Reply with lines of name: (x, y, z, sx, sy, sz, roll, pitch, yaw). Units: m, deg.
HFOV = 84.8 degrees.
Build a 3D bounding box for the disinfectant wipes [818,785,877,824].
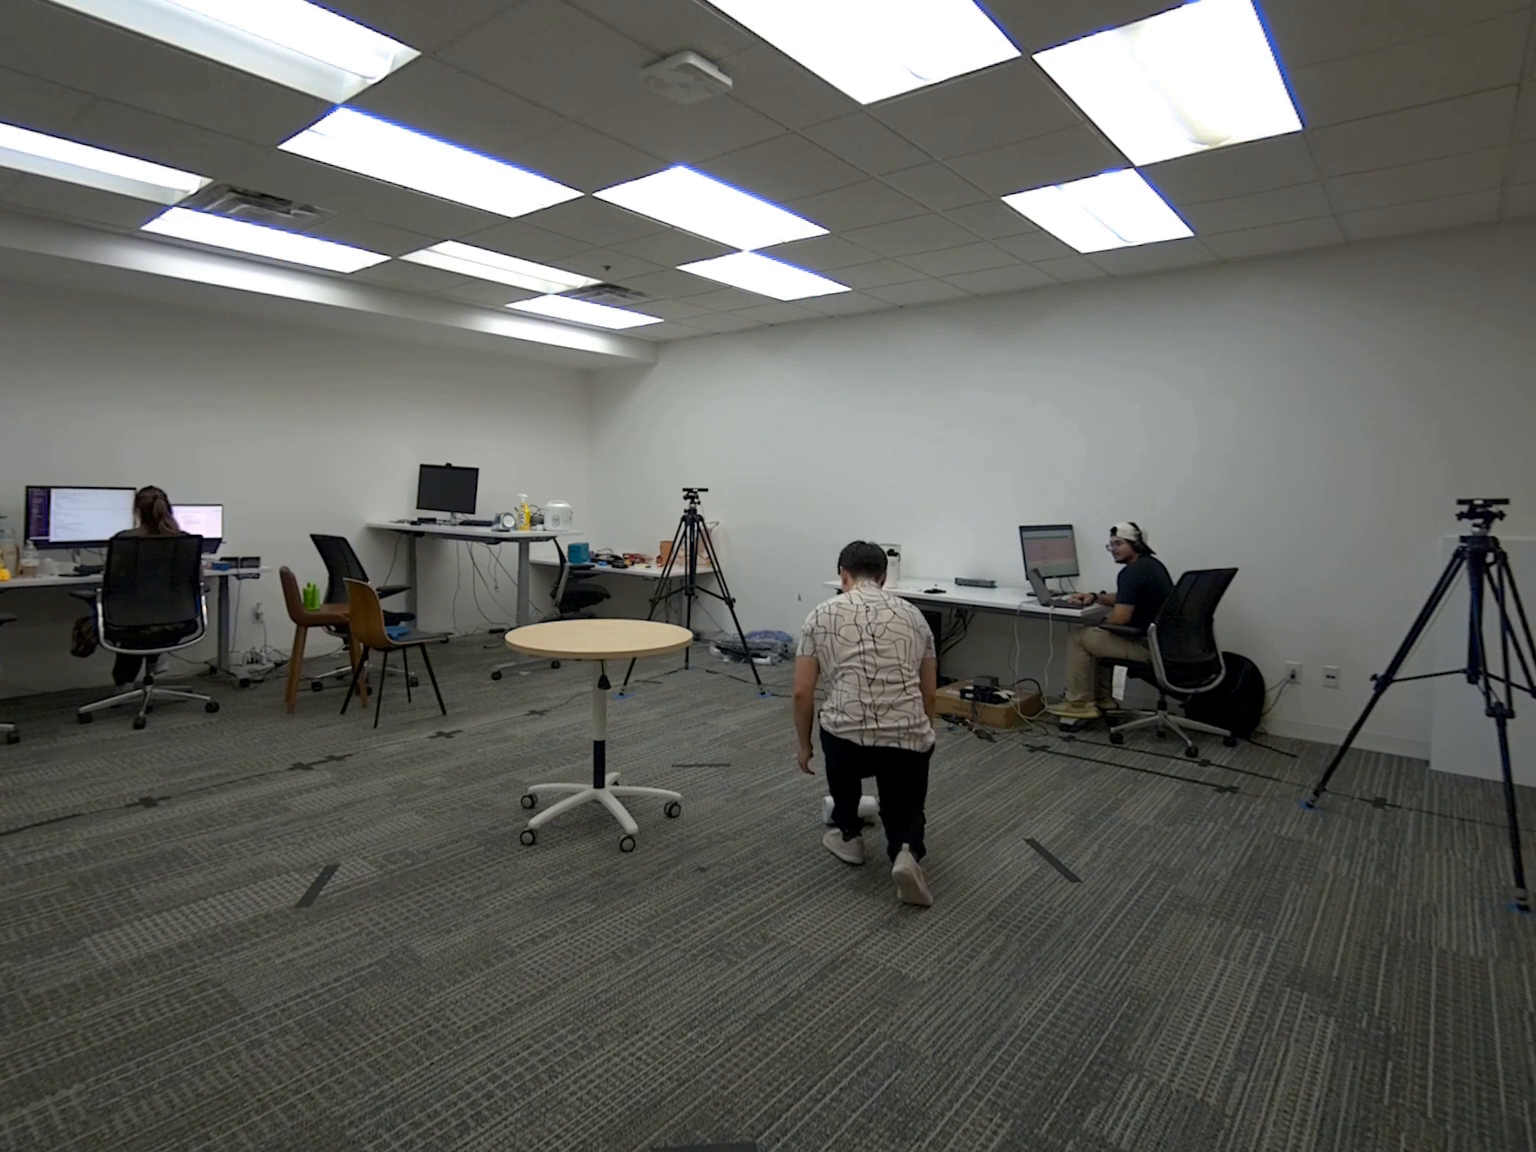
disinfectant wipes: (0.334, 0.971, 3.578, 0.216, 0.117, 0.119, 2, 4, -5)
